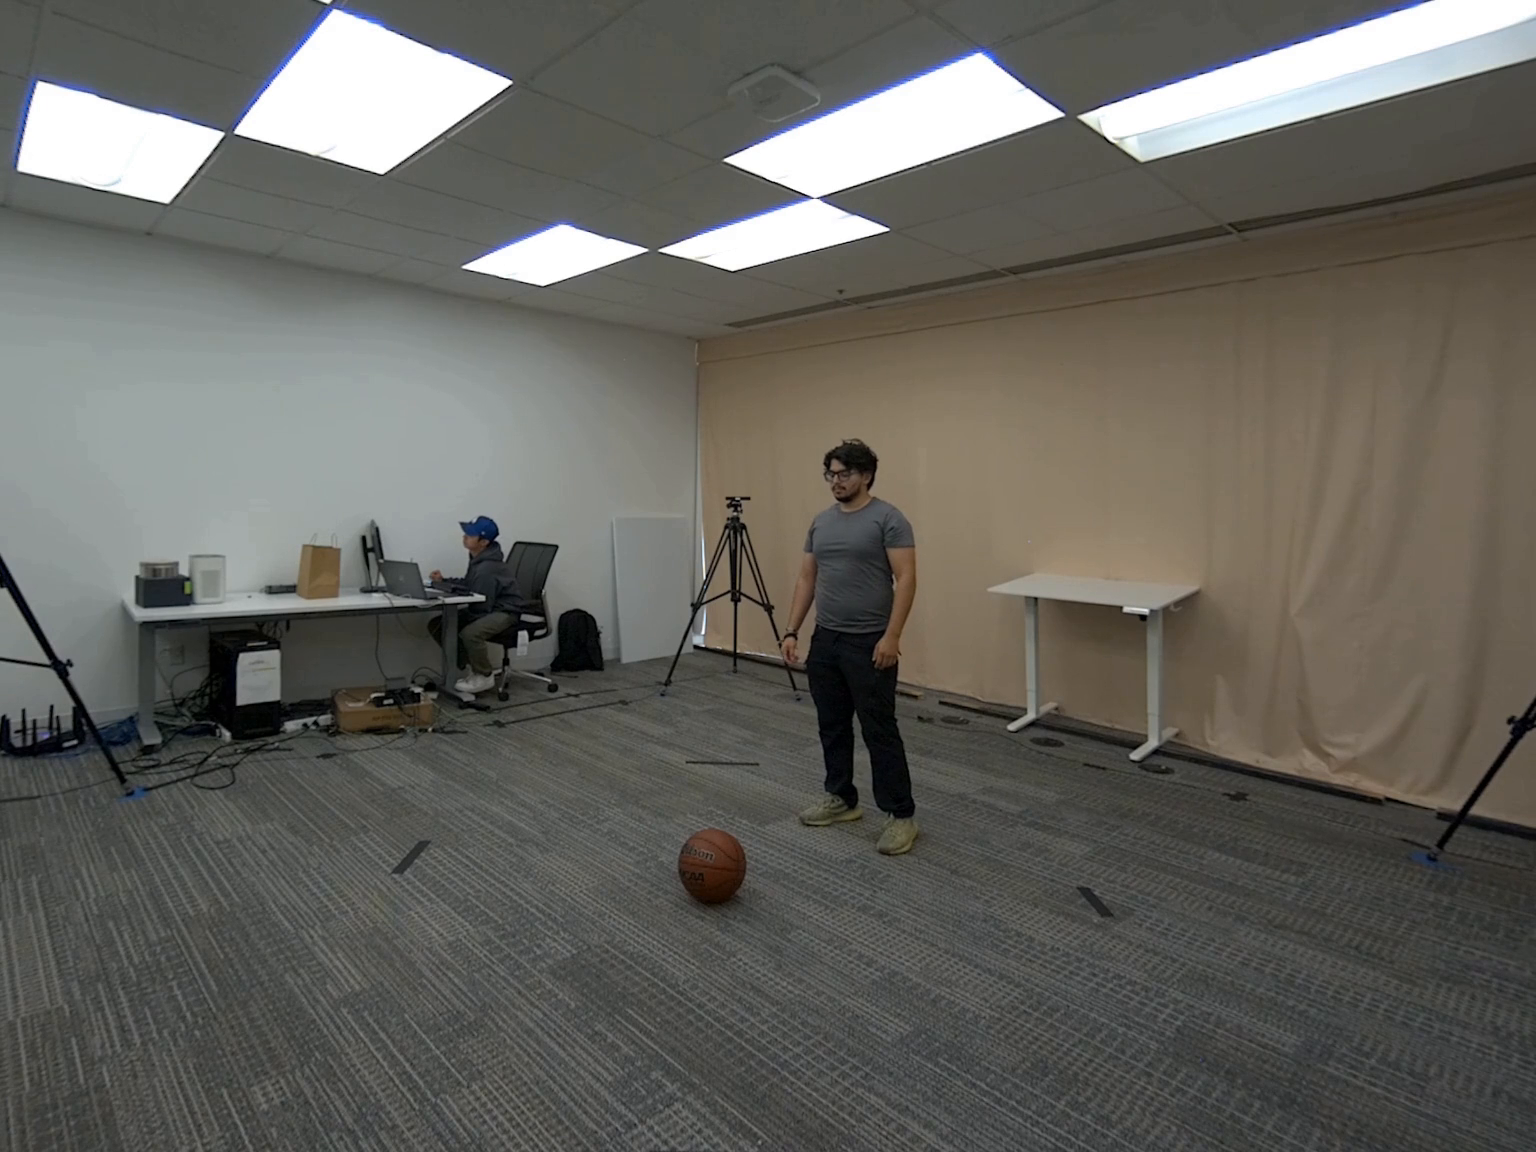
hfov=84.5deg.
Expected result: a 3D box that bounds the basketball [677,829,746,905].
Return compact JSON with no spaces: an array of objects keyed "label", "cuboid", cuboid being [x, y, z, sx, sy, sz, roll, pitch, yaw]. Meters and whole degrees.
[{"label":"basketball","cuboid":[-0.197,1.004,2.919,0.236,0.235,0.237,1,4,-1]}]
